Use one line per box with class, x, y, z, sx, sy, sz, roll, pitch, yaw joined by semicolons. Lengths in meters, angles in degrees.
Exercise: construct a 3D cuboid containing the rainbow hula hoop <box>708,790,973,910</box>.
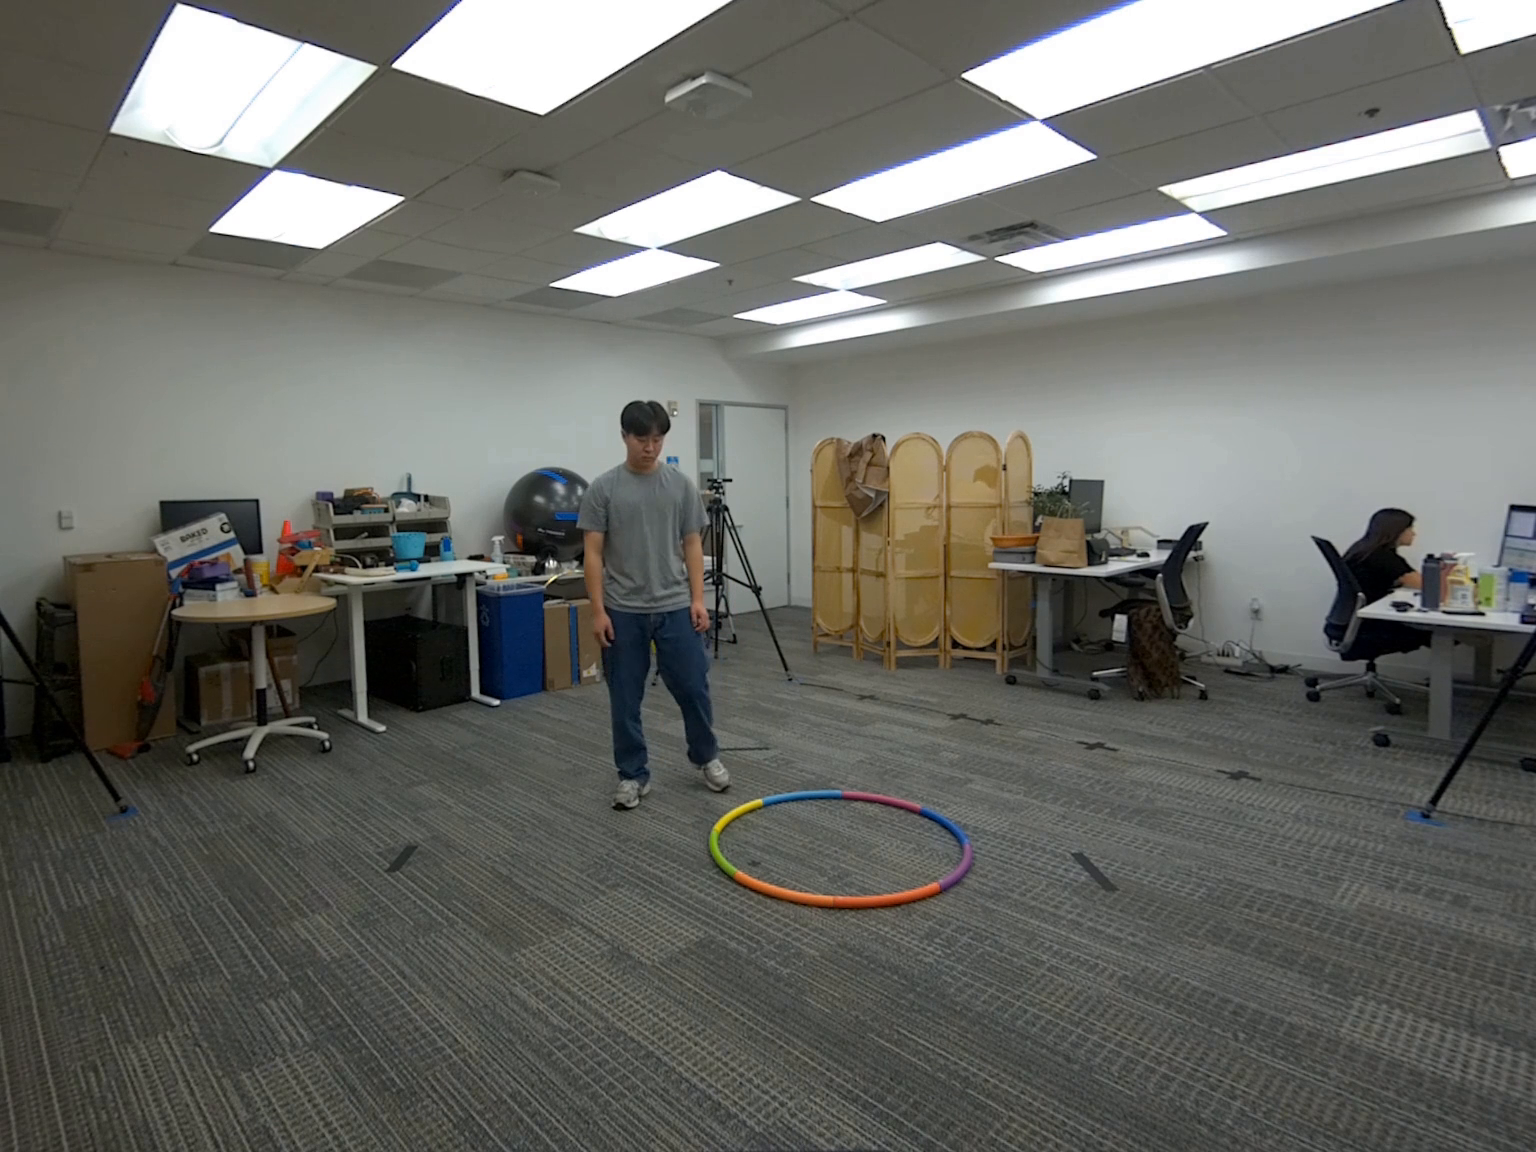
rainbow hula hoop;0.259;0.994;3.247;0.978;0.035;0.984;-1;7;-2
